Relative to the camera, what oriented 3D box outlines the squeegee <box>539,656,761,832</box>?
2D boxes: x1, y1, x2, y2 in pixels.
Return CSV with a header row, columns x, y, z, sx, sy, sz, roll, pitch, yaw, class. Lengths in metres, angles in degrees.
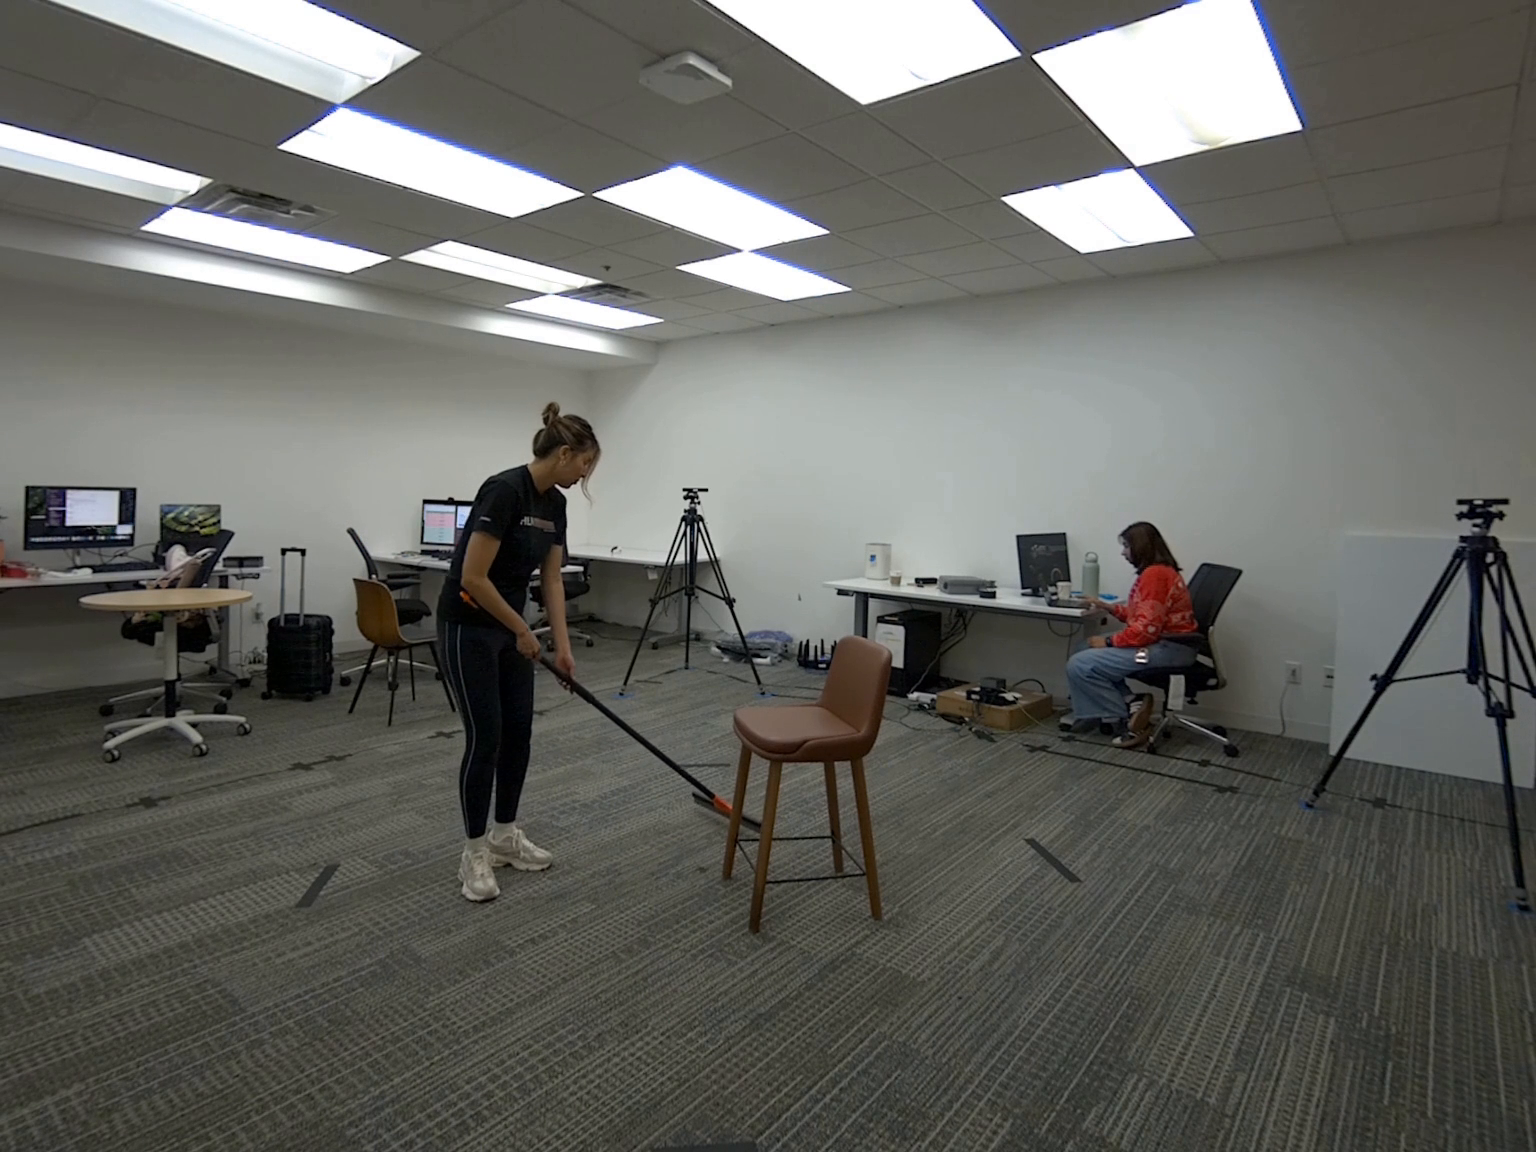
x,y,z,sx,sy,sz,roll,pitch,yaw,class
-0.592,0.510,3.146,0.453,0.053,1.479,8,-33,49,squeegee
